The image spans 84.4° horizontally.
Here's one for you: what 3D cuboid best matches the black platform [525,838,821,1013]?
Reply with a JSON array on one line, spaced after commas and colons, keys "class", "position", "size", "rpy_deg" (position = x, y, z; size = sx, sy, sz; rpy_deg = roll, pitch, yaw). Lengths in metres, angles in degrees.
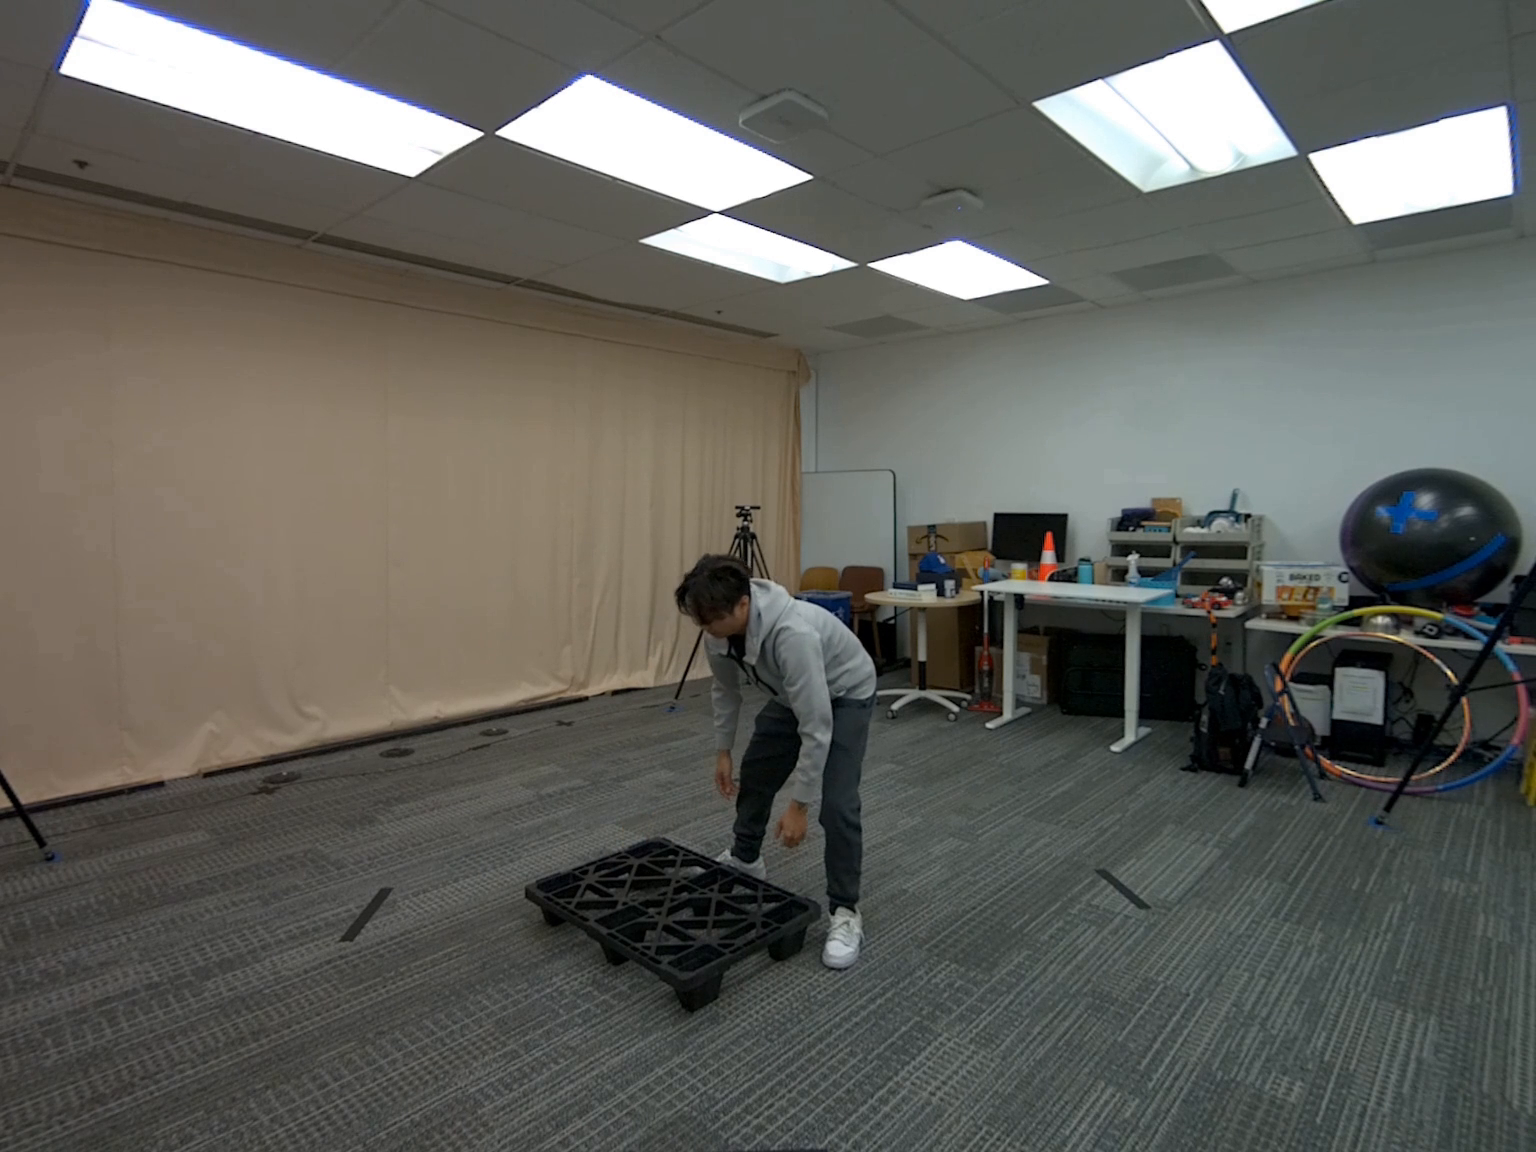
[{"class": "black platform", "position": [-0.318, 1.103, 2.736], "size": [0.832, 0.143, 0.586], "rpy_deg": [4, 6, 44]}]
